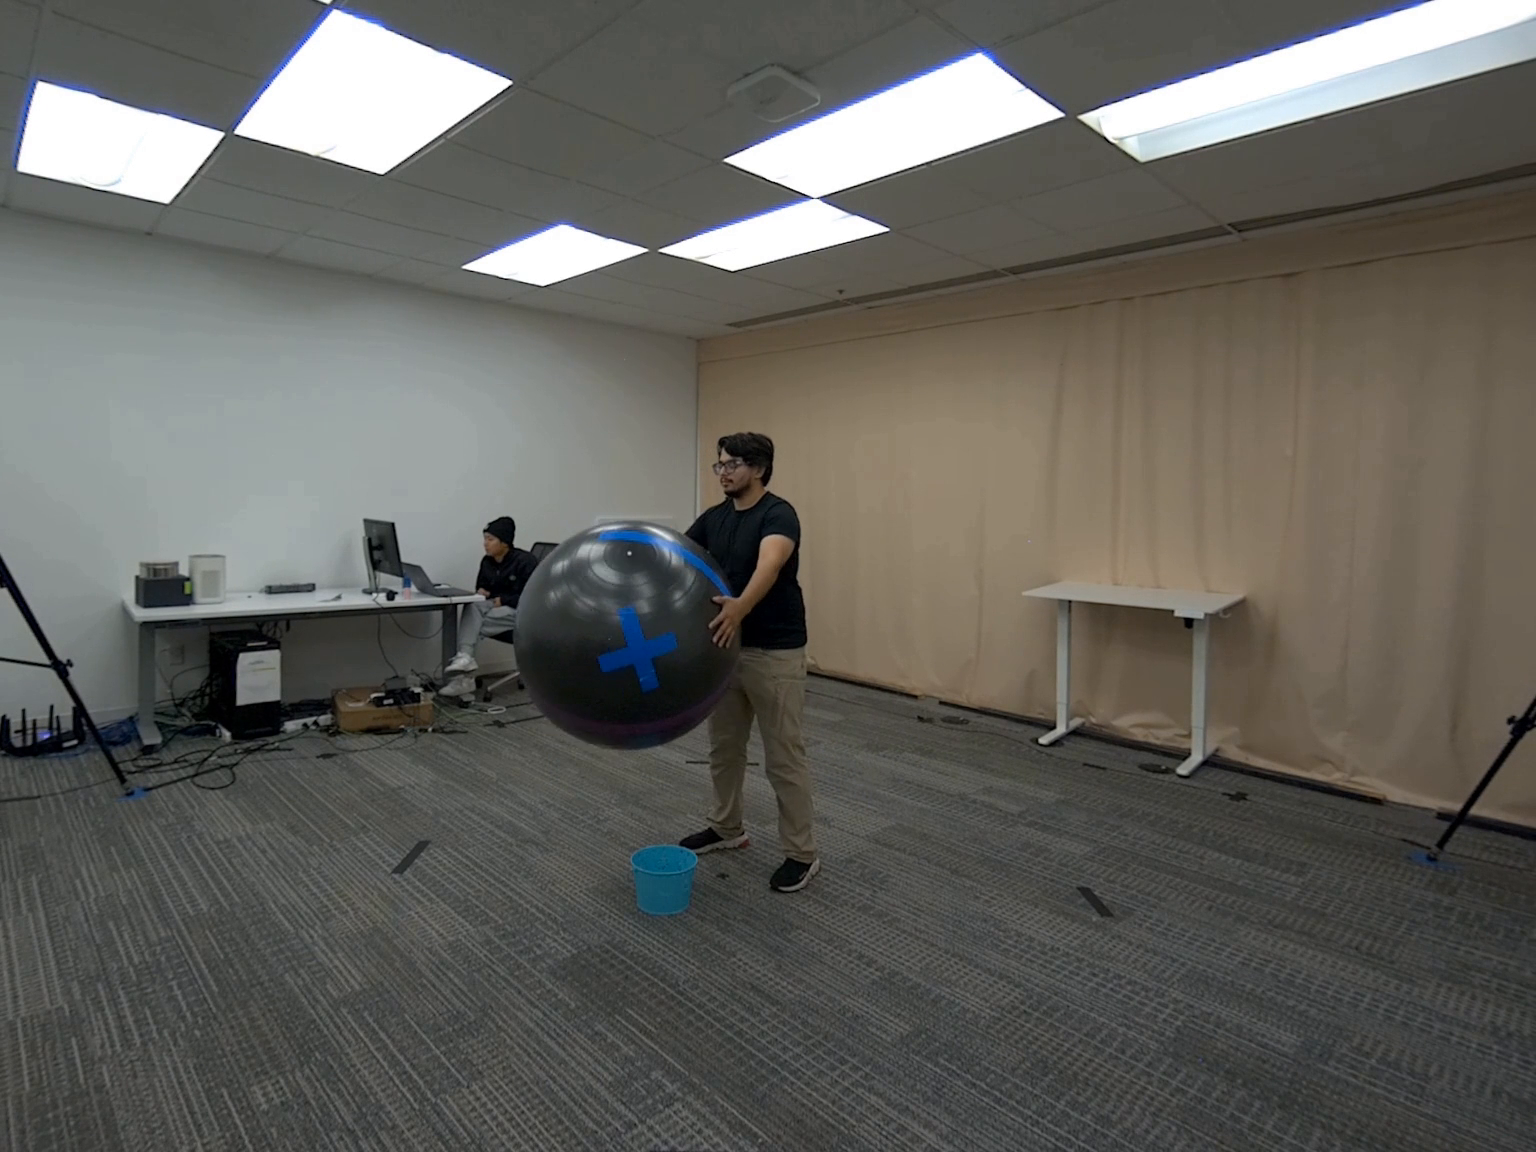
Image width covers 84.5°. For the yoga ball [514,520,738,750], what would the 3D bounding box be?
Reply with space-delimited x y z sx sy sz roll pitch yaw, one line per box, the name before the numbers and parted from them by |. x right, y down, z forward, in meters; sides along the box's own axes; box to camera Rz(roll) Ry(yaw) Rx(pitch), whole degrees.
yoga ball | -0.470 0.202 2.818 0.757 0.756 0.761 1 4 -1
